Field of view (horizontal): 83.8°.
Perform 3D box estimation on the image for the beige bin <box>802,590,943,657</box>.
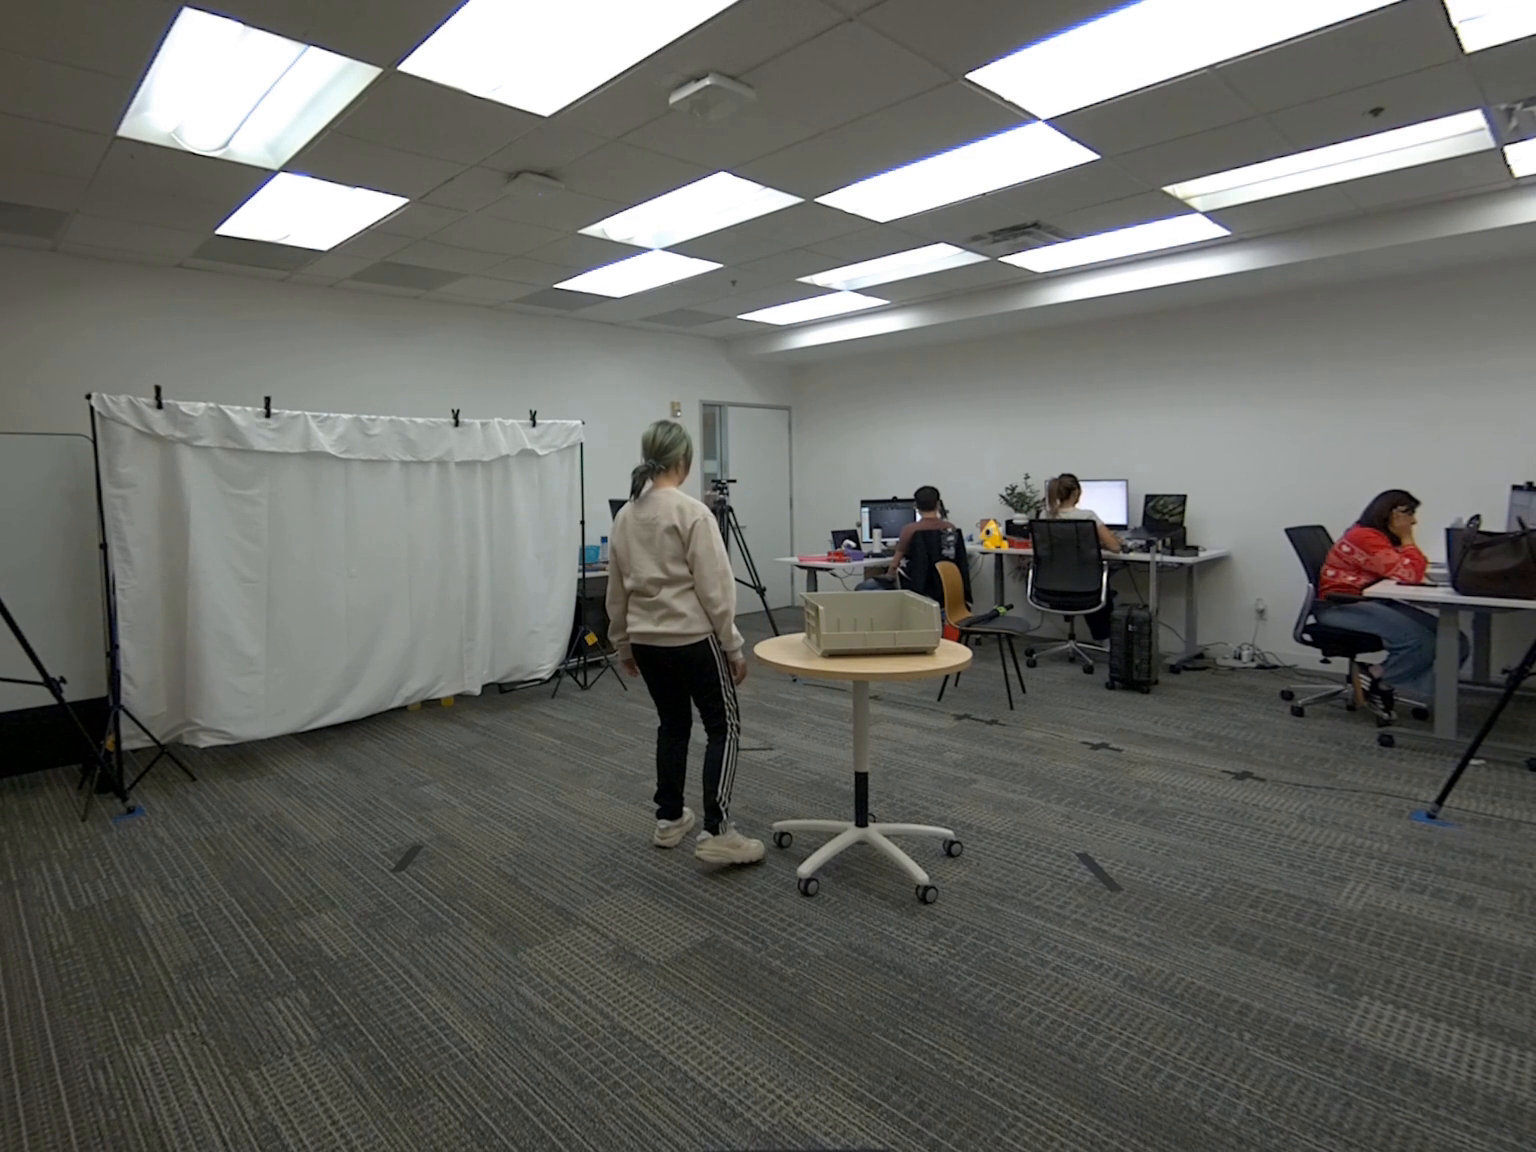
[{"bbox_3d":[0.354,0.180,3.059,0.420,0.188,0.381,-1,7,-5],"label":"beige bin"}]
